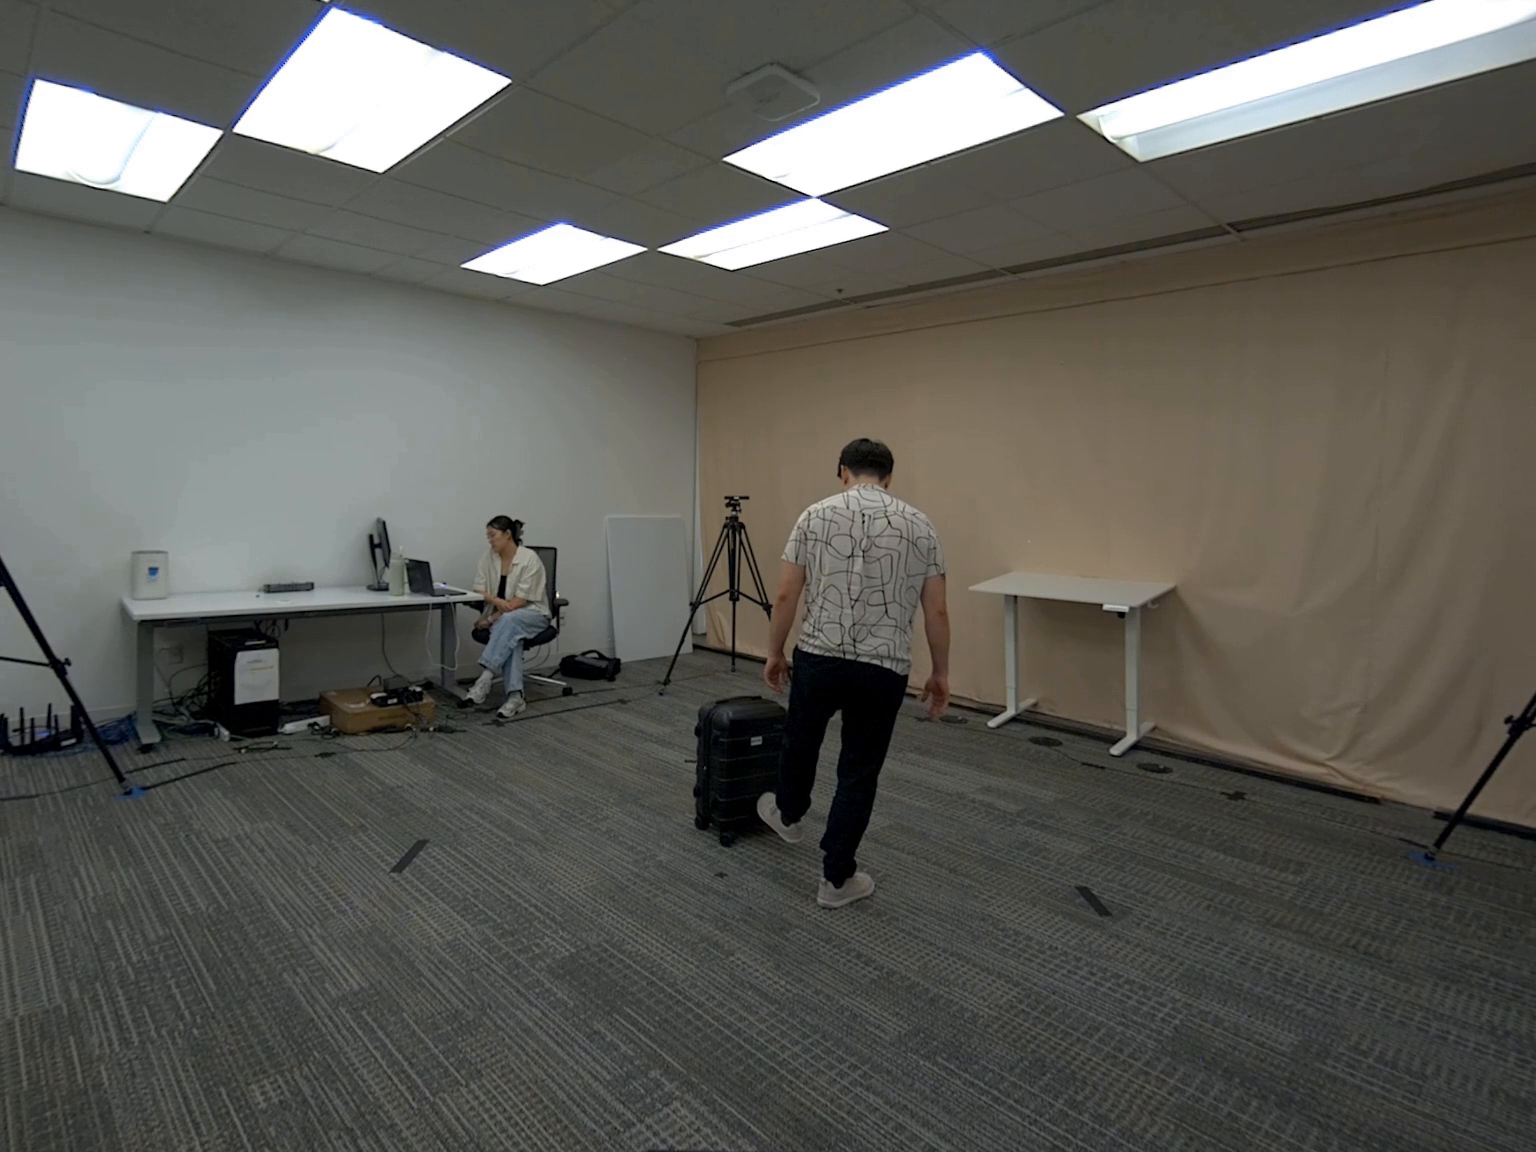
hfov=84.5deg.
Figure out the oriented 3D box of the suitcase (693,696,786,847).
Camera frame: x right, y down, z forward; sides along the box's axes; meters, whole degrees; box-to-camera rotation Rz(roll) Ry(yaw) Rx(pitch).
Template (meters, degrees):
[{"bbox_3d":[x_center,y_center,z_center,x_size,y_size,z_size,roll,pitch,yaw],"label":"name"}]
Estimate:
[{"bbox_3d":[-0.108,0.788,3.530,0.368,0.548,0.254,-1,4,-31],"label":"suitcase"}]
